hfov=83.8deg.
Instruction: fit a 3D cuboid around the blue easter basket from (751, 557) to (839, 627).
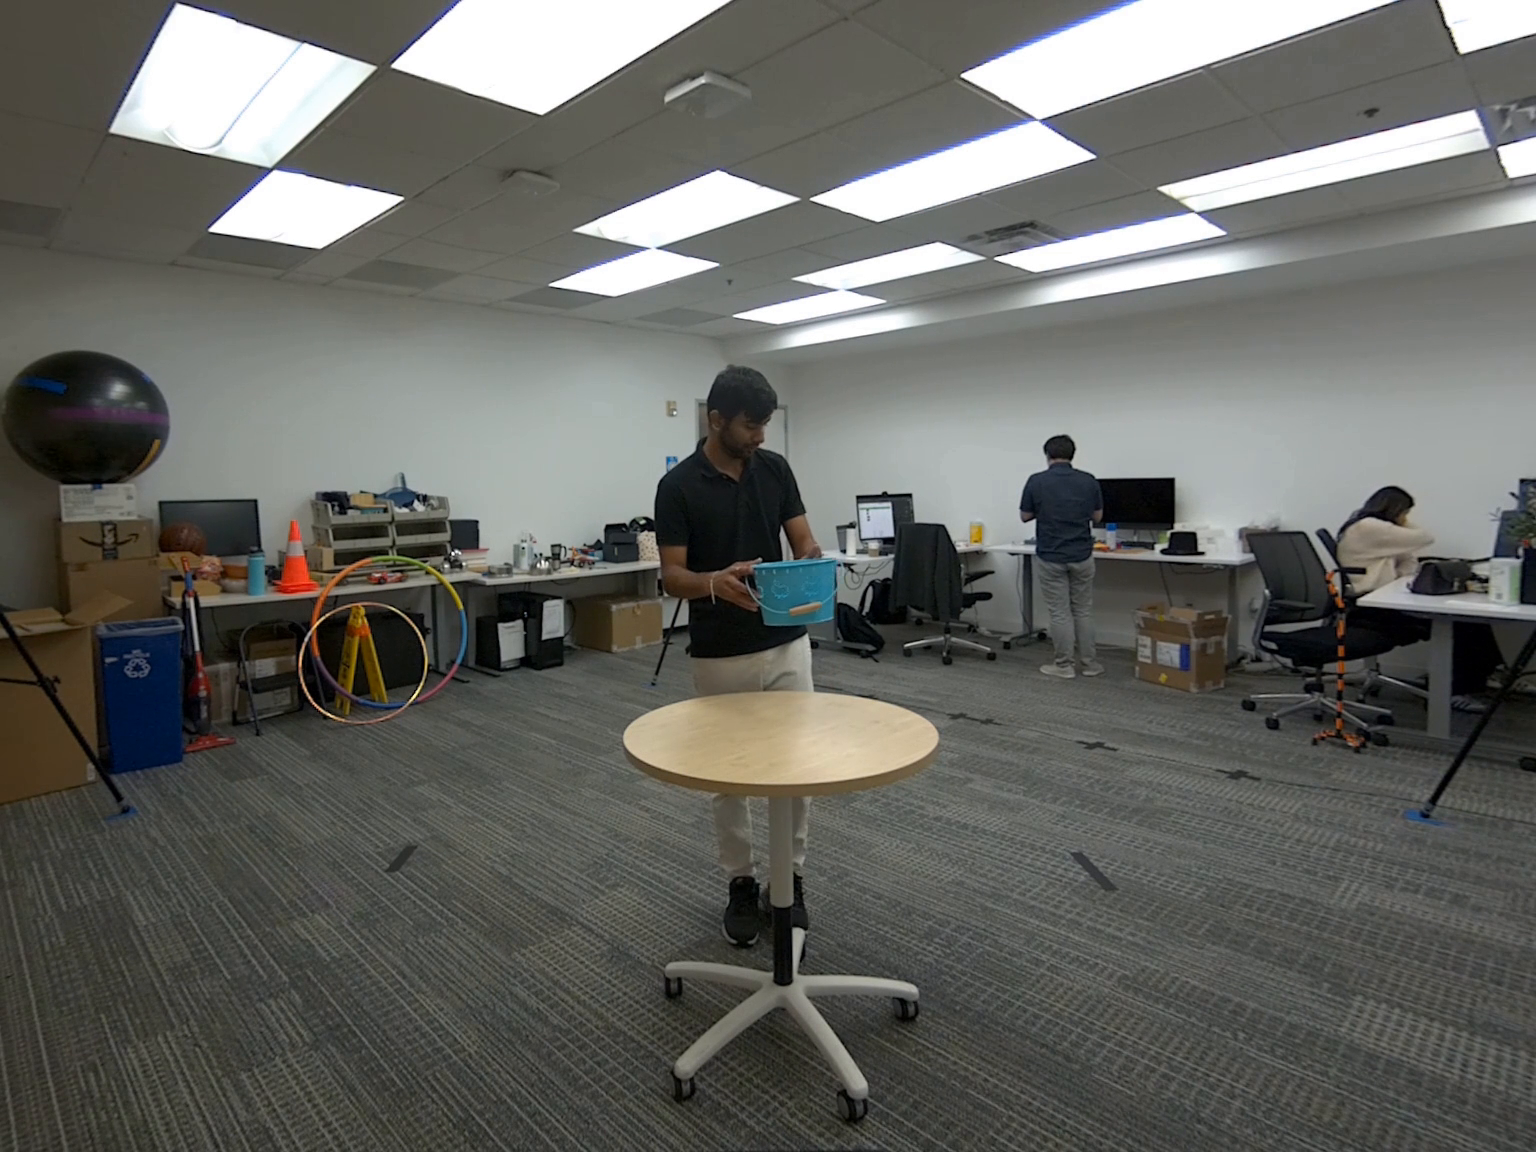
[{"bbox_3d":[0.069,0.043,2.207,0.243,0.156,0.244,-5,2,-2],"label":"blue easter basket"}]
